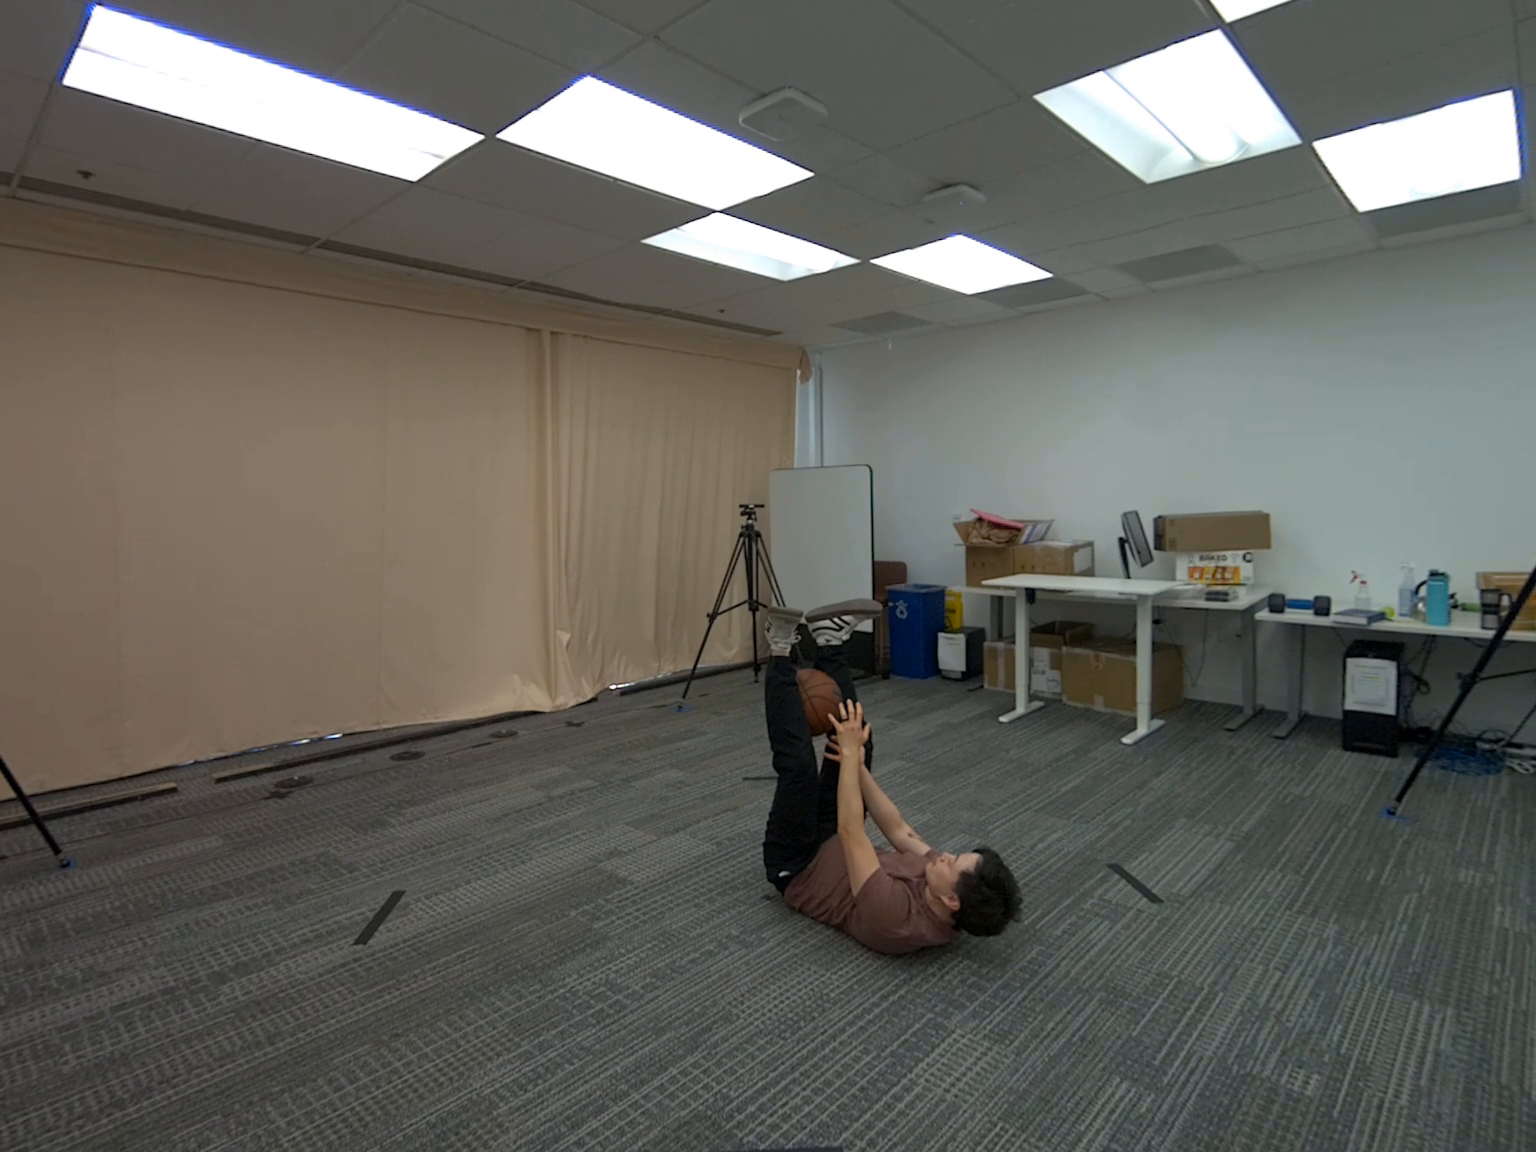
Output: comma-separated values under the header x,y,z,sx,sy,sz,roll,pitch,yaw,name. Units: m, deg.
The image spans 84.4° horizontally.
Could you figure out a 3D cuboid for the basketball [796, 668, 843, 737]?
x,y,z,sx,sy,sz,roll,pitch,yaw,name
0.153,0.451,2.981,0.236,0.235,0.236,-1,3,-2,basketball
